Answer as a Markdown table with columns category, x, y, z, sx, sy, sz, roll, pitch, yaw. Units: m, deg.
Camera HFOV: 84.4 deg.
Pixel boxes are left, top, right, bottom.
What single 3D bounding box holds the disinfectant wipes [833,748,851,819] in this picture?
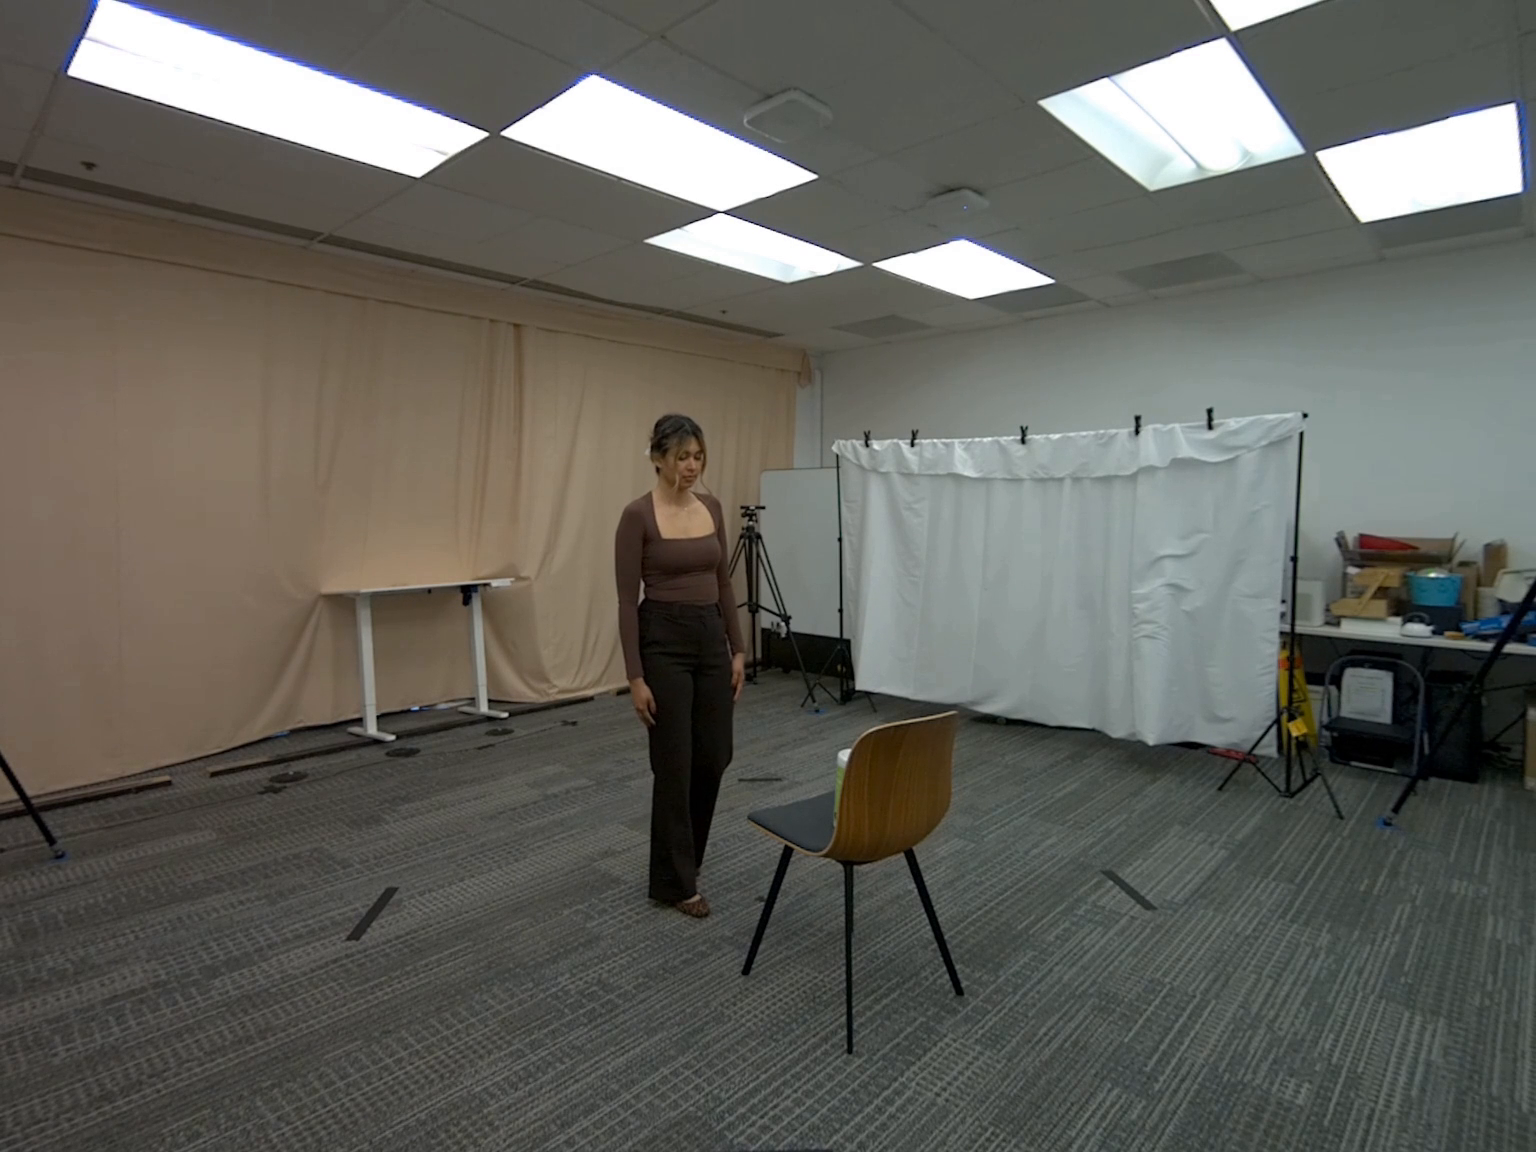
| category | x | y | z | sx | sy | sz | roll | pitch | yaw |
| --- | --- | --- | --- | --- | --- | --- | --- | --- | --- |
| disinfectant wipes | 0.264 | 0.620 | 2.390 | 0.117 | 0.216 | 0.118 | 3 | 7 | -2 |
